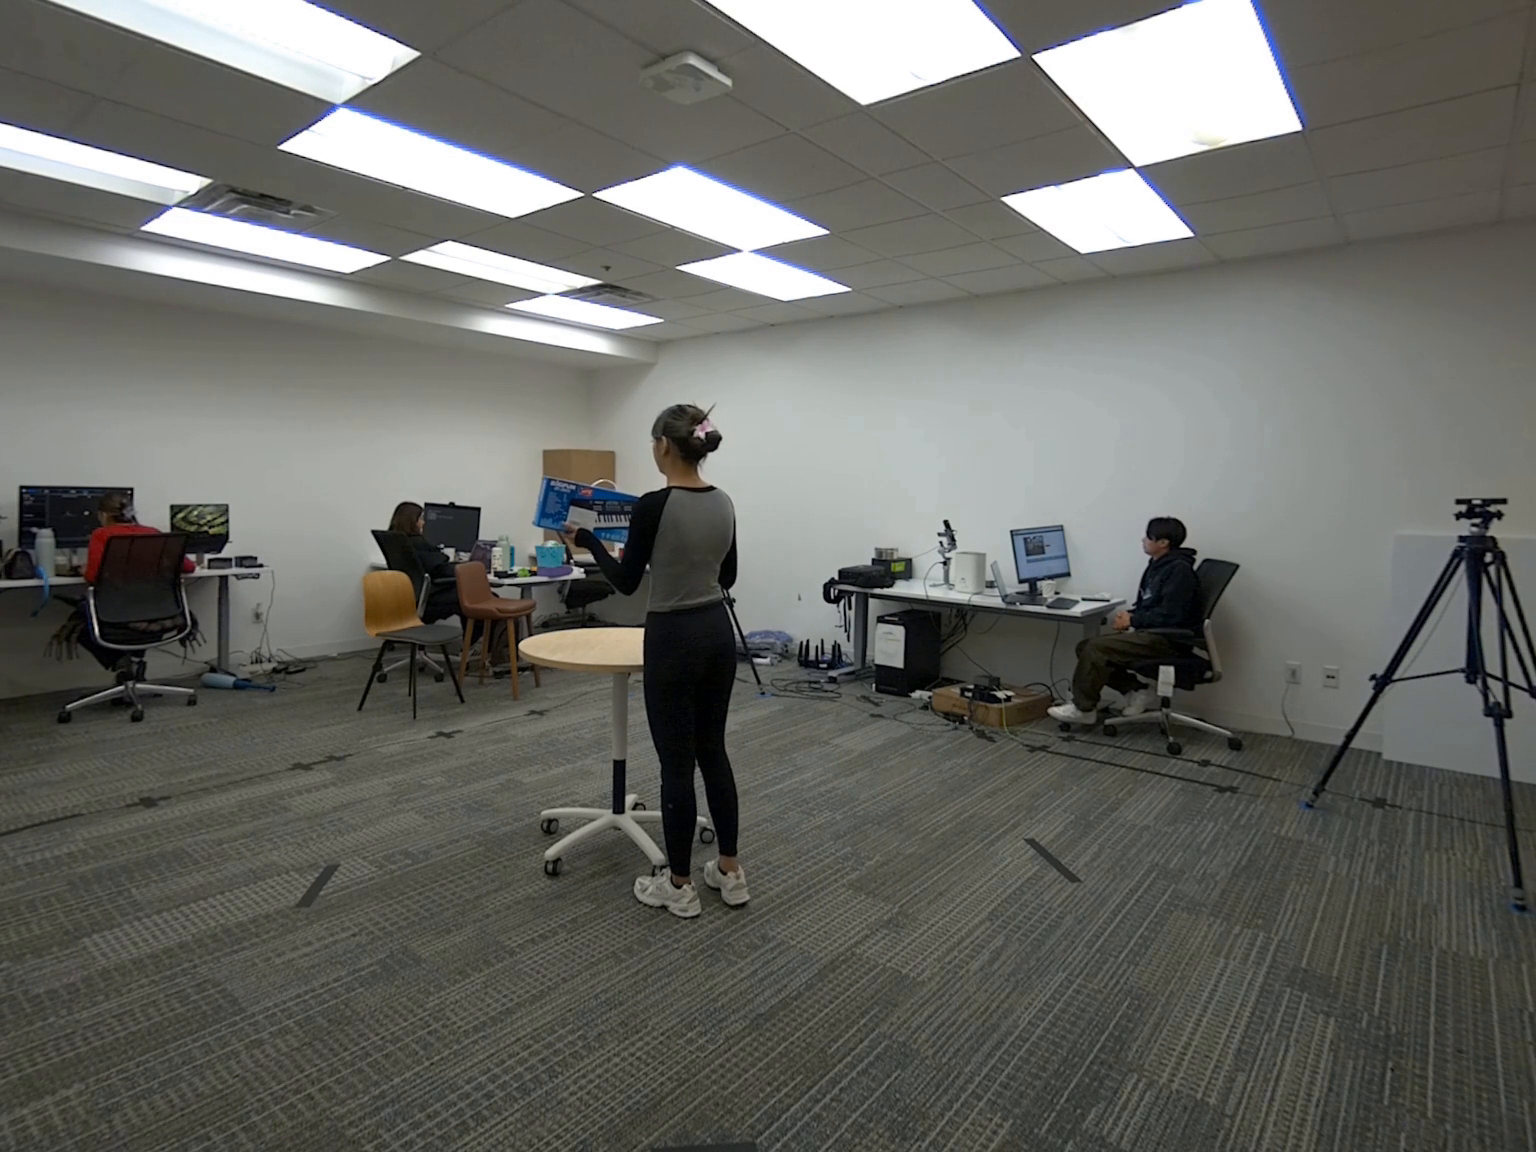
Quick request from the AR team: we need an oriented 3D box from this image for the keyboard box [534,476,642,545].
[{"bbox_3d":[-0.588,-0.220,2.964,0.423,0.176,0.061,10,3,-30],"label":"keyboard box"}]
